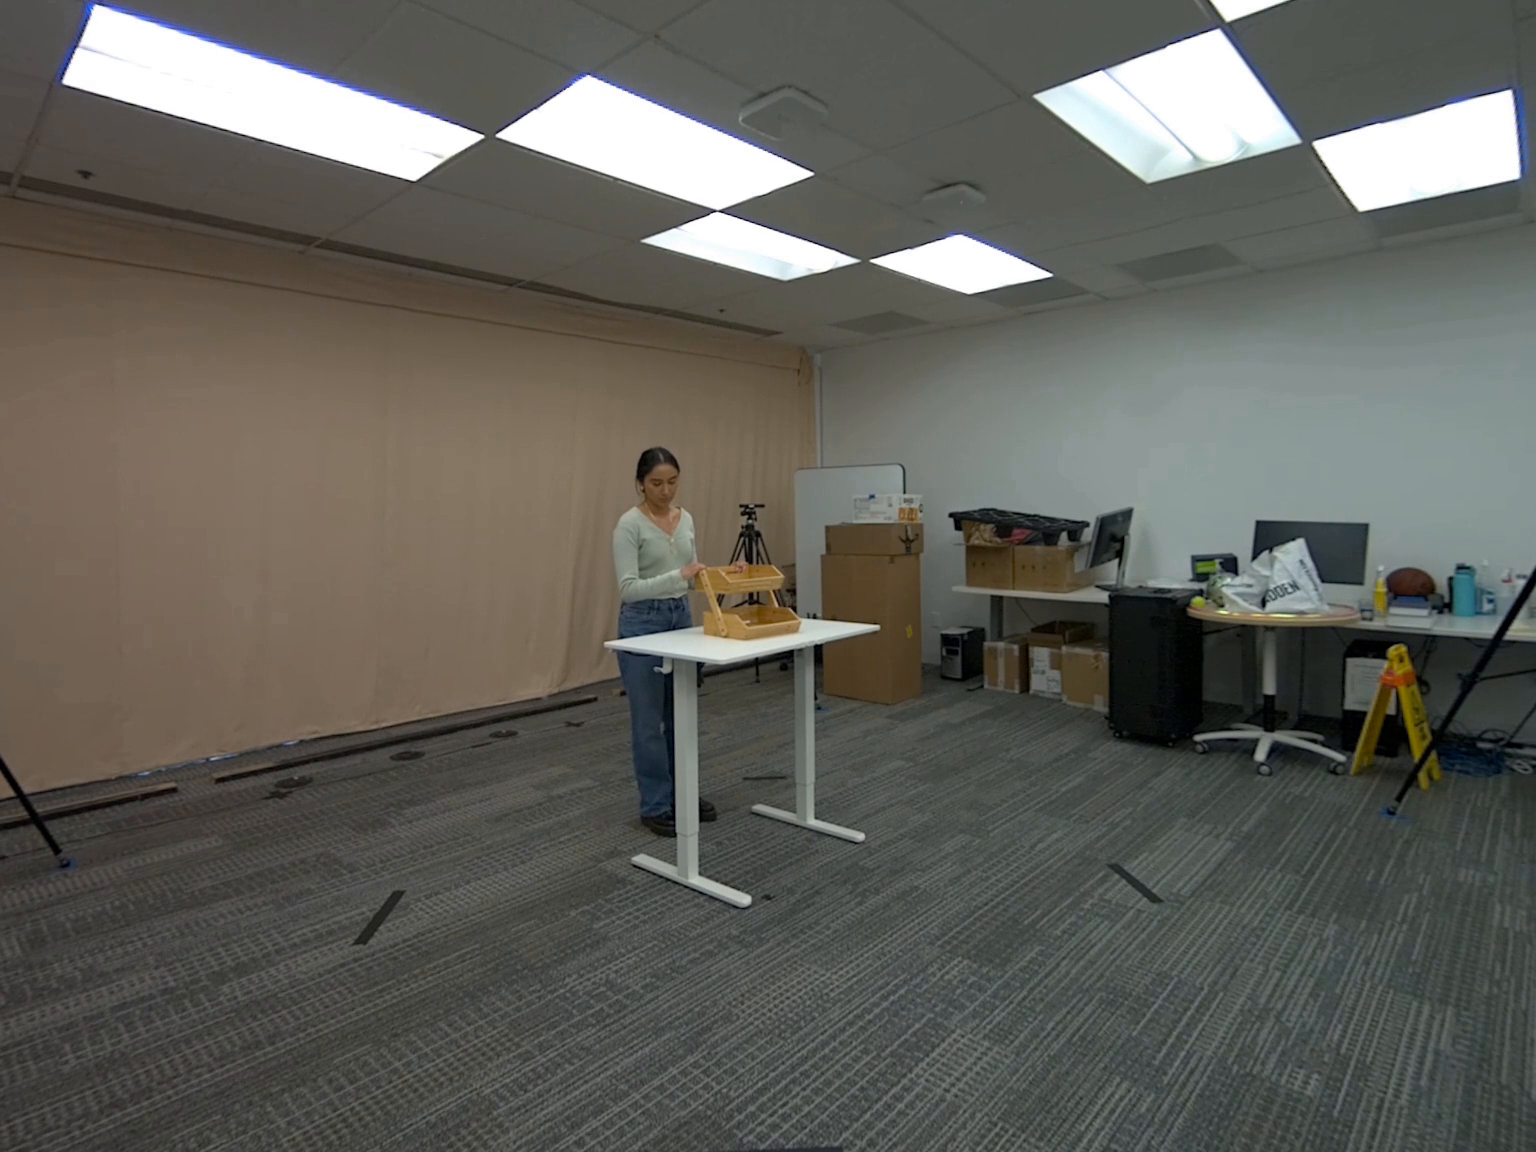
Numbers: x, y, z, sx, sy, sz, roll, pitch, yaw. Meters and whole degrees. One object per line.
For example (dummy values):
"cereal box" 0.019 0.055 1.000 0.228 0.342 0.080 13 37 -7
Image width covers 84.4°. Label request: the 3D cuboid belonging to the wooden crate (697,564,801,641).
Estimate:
"wooden crate" -0.077 0.095 3.356 0.314 0.273 0.312 -4 4 -43
